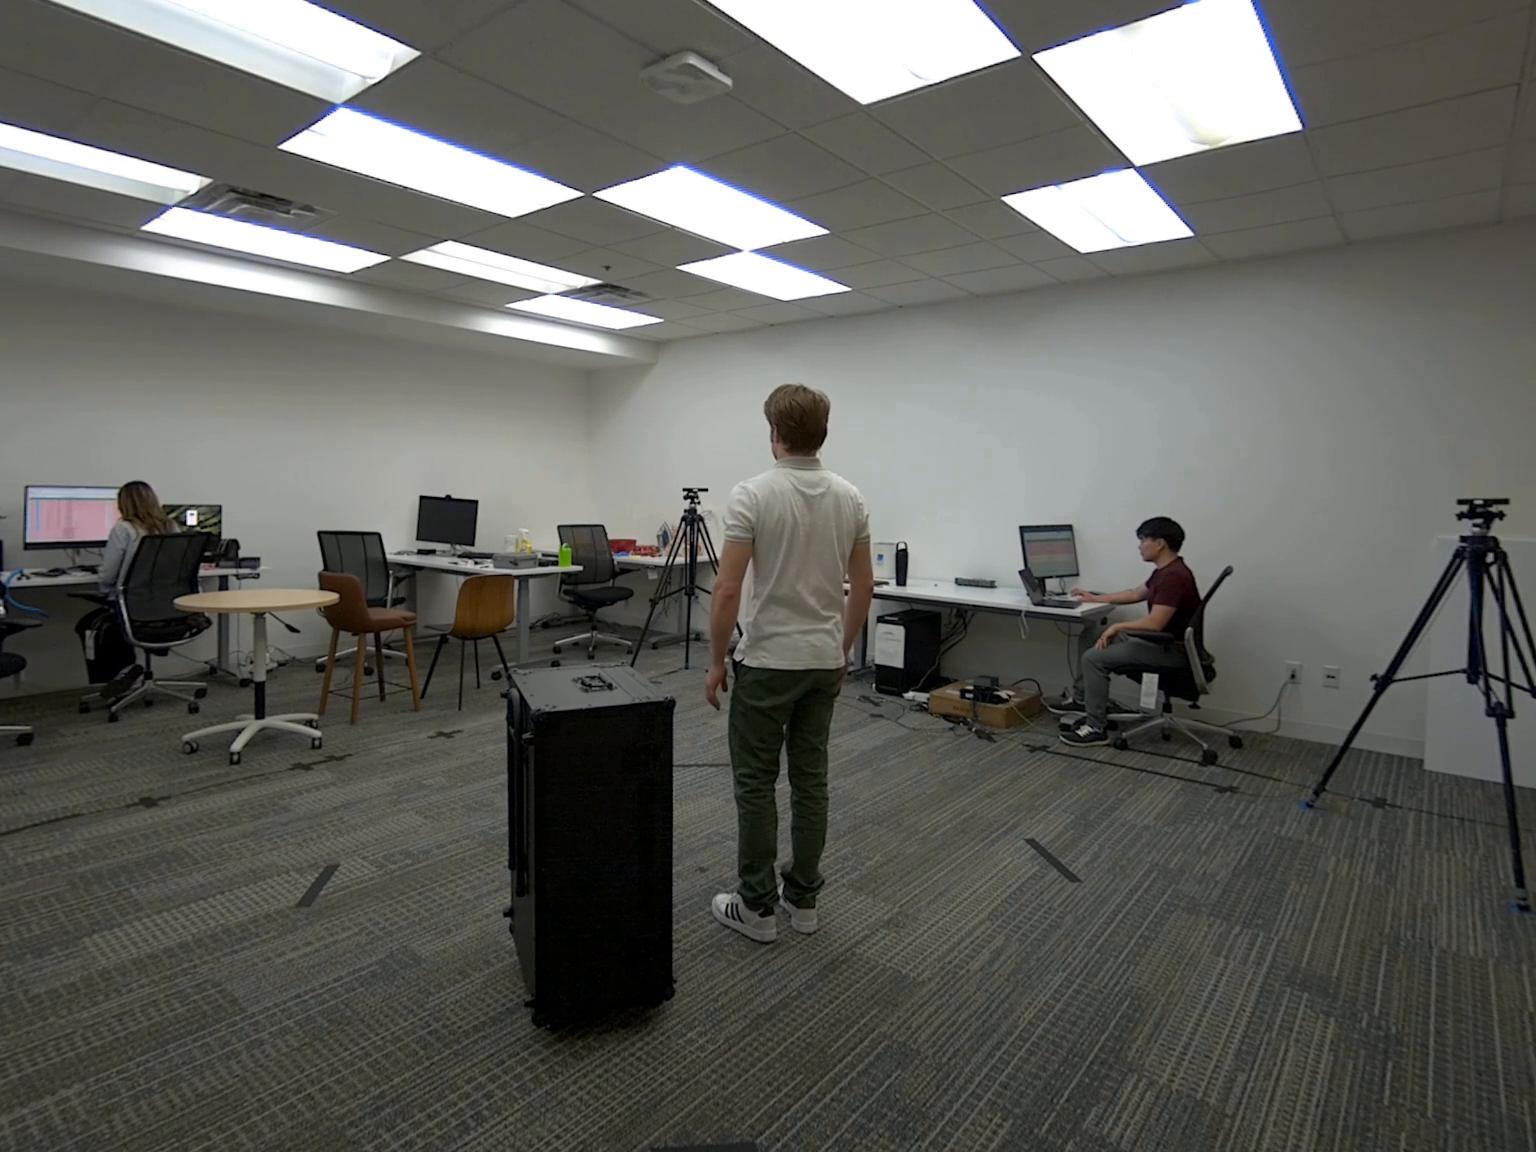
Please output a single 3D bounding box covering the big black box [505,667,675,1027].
[{"bbox_3d":[-0.516,0.726,2.317,0.376,0.865,0.537,-1,4,-25],"label":"big black box"}]
